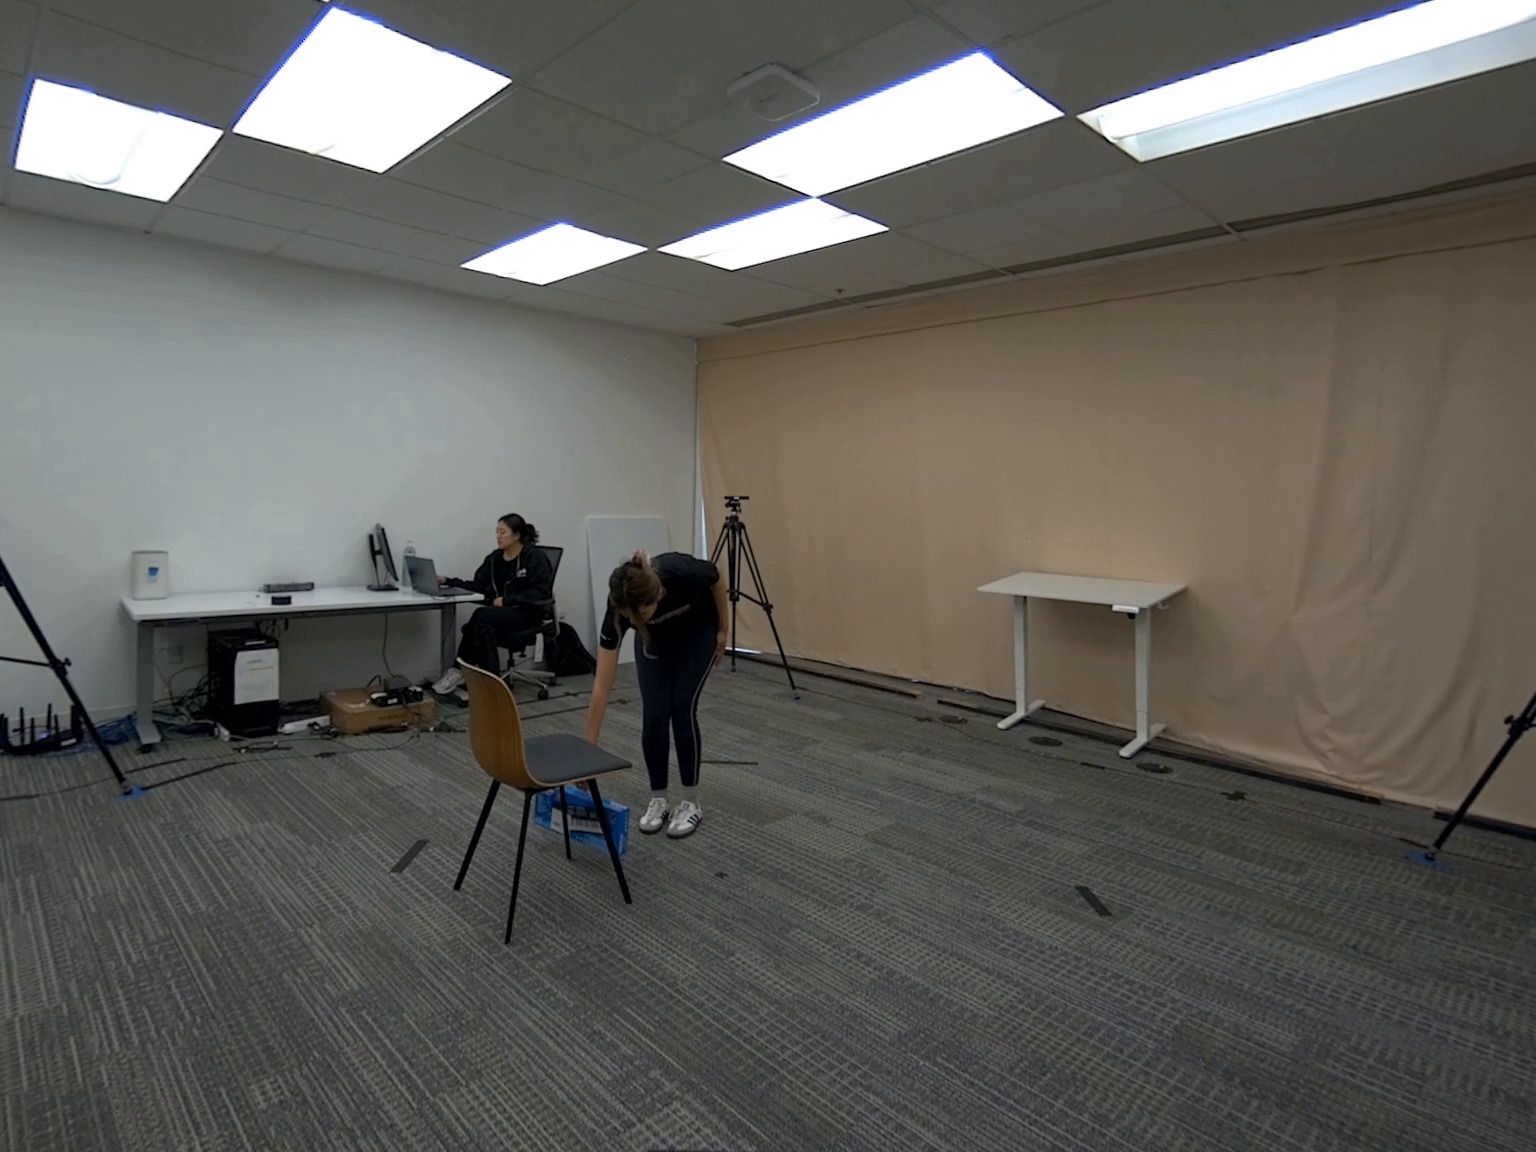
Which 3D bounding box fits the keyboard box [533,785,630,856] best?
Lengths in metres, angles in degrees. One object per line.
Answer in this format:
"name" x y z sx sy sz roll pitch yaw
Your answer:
"keyboard box" -0.726 0.920 3.221 0.447 0.175 0.058 8 5 33
